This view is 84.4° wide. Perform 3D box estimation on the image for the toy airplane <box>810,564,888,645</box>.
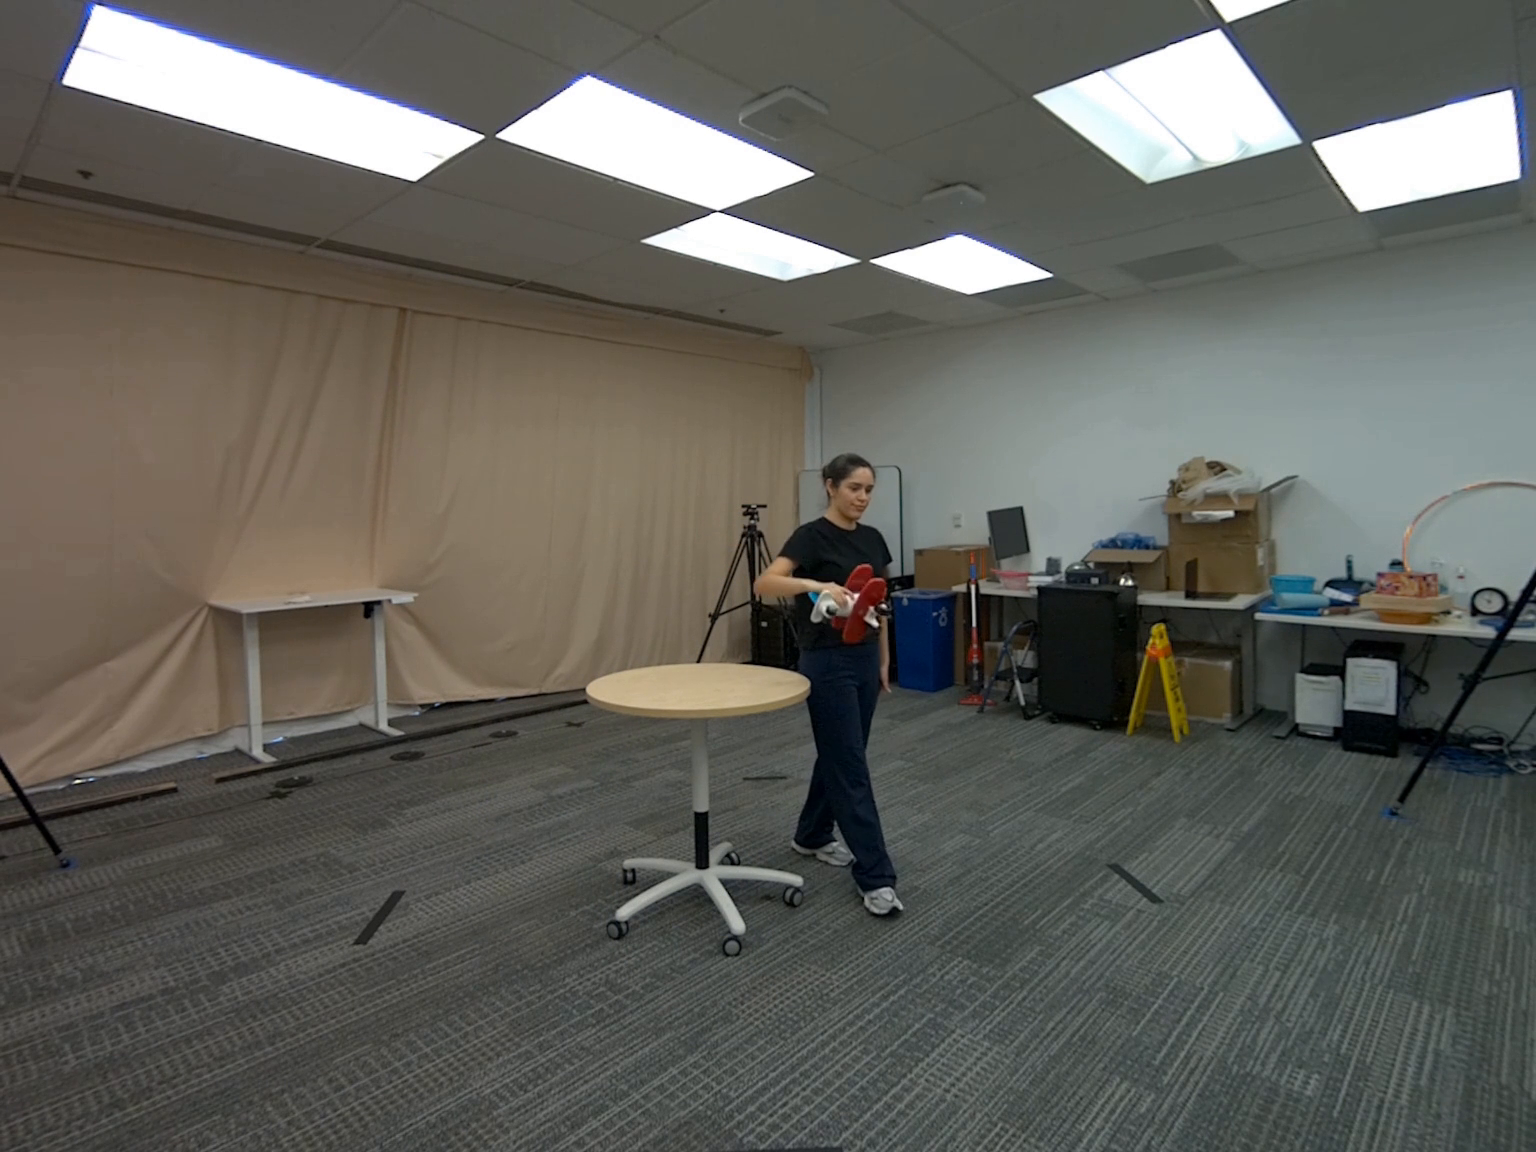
[{"bbox_3d":[0.264,0.069,2.716,0.251,0.252,0.160,36,19,-29],"label":"toy airplane"}]
